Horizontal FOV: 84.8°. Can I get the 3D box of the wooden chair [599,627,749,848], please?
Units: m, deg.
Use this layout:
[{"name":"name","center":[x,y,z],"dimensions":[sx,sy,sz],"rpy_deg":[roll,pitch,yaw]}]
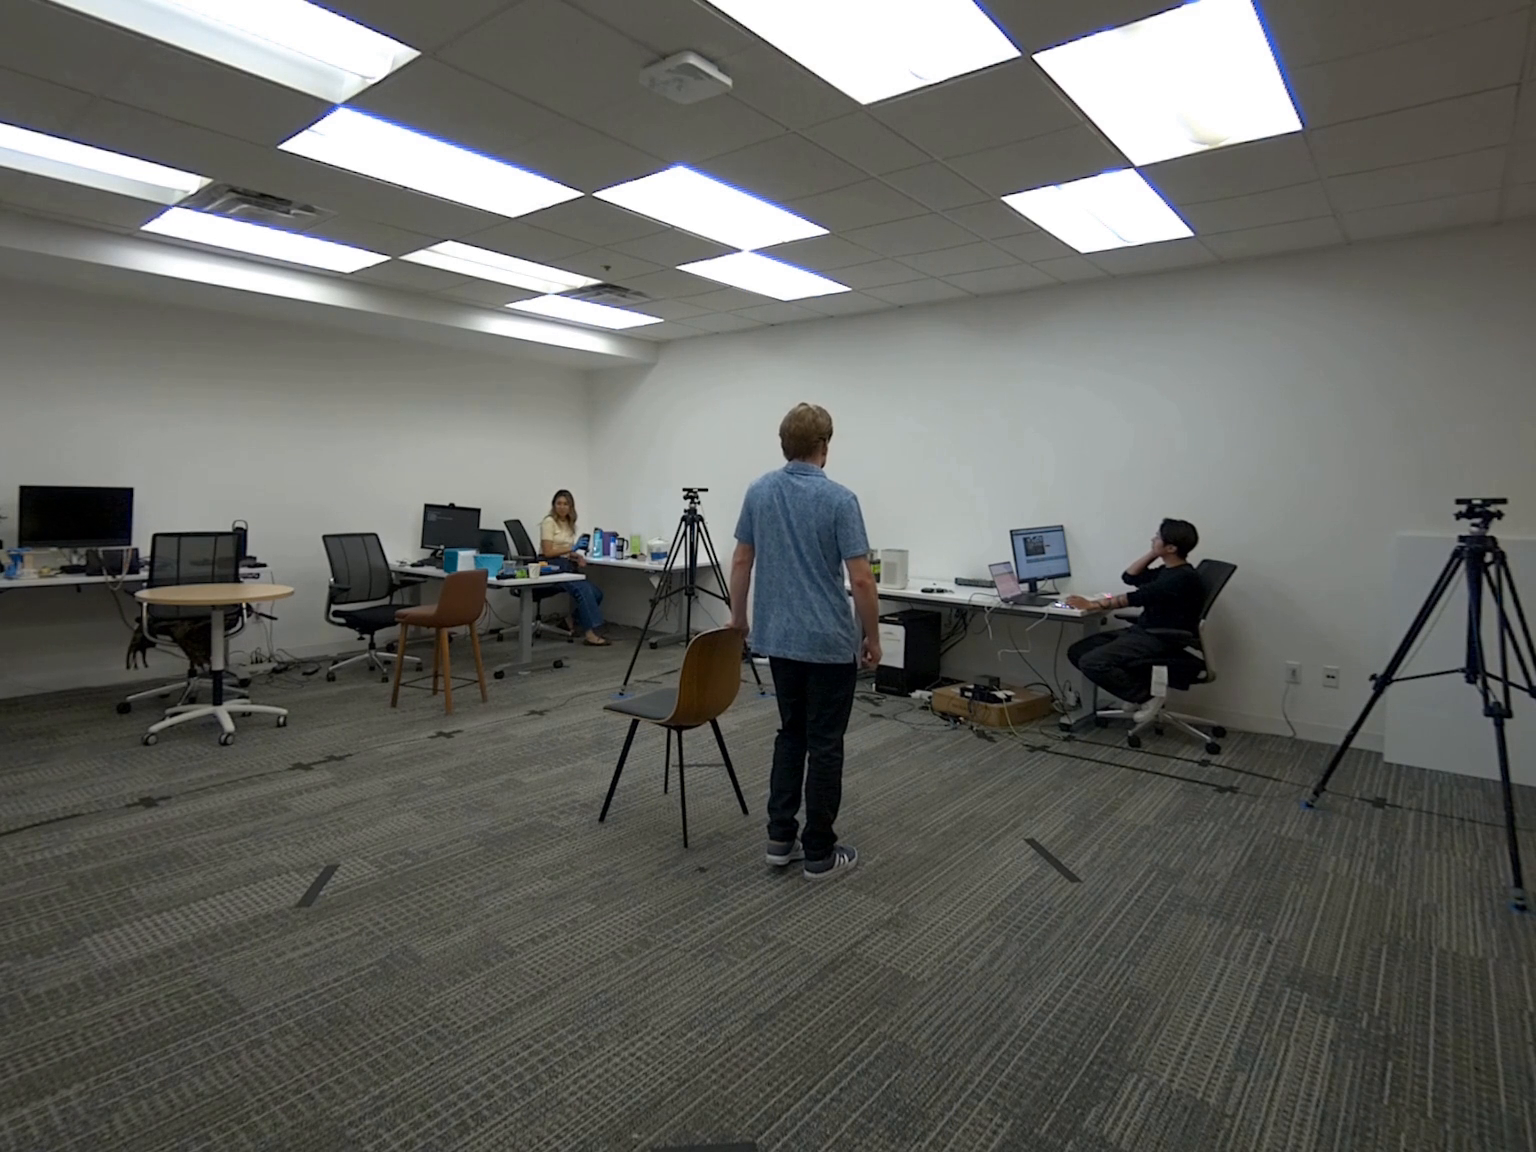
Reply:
[{"name":"wooden chair","center":[-0.405,0.593,3.571],"dimensions":[0.540,0.873,0.465],"rpy_deg":[9,7,33]}]
